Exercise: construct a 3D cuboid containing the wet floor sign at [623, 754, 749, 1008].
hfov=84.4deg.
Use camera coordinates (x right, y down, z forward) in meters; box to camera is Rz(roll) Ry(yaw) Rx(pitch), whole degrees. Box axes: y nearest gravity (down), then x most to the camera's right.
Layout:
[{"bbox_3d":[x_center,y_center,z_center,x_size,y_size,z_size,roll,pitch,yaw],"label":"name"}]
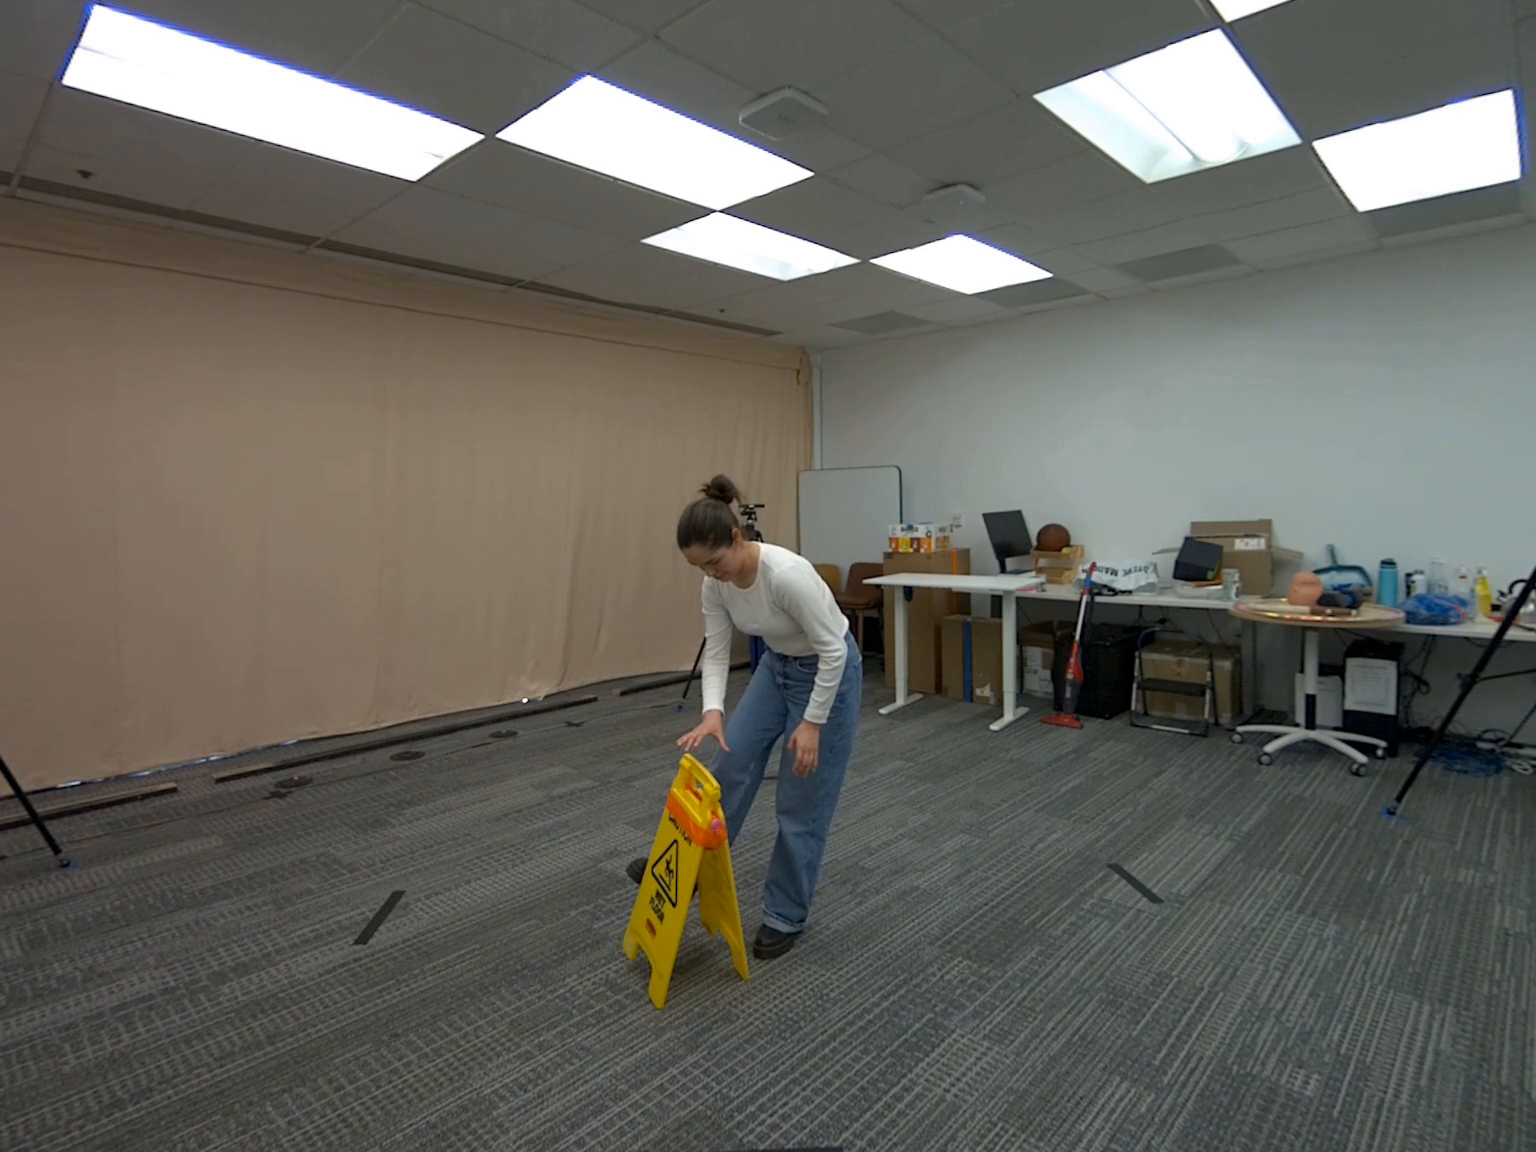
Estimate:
[{"bbox_3d":[-0.214,0.850,2.431,0.282,0.641,0.292,-2,17,-31],"label":"wet floor sign"}]
